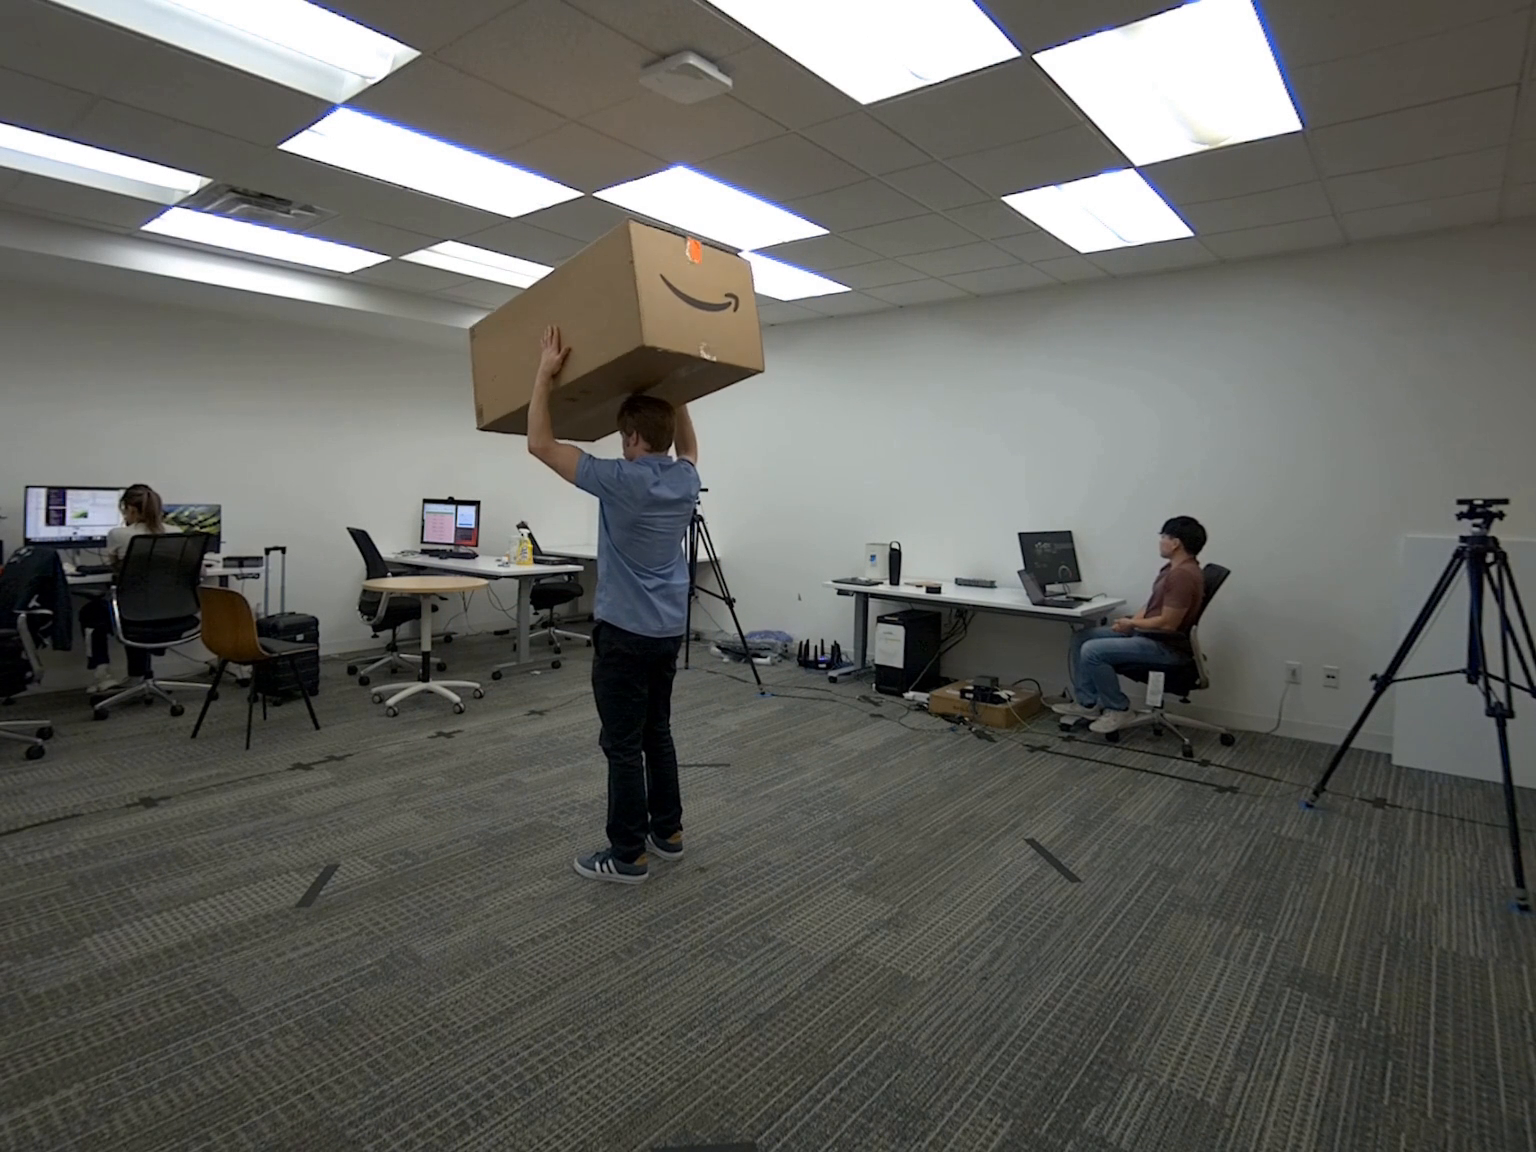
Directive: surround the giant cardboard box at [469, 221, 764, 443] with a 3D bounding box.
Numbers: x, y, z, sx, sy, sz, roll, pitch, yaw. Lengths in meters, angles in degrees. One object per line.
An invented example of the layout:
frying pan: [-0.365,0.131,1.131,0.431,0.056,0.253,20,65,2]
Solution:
giant cardboard box: [-0.607,-0.855,3.188,1.051,0.429,0.559,-11,-7,42]
